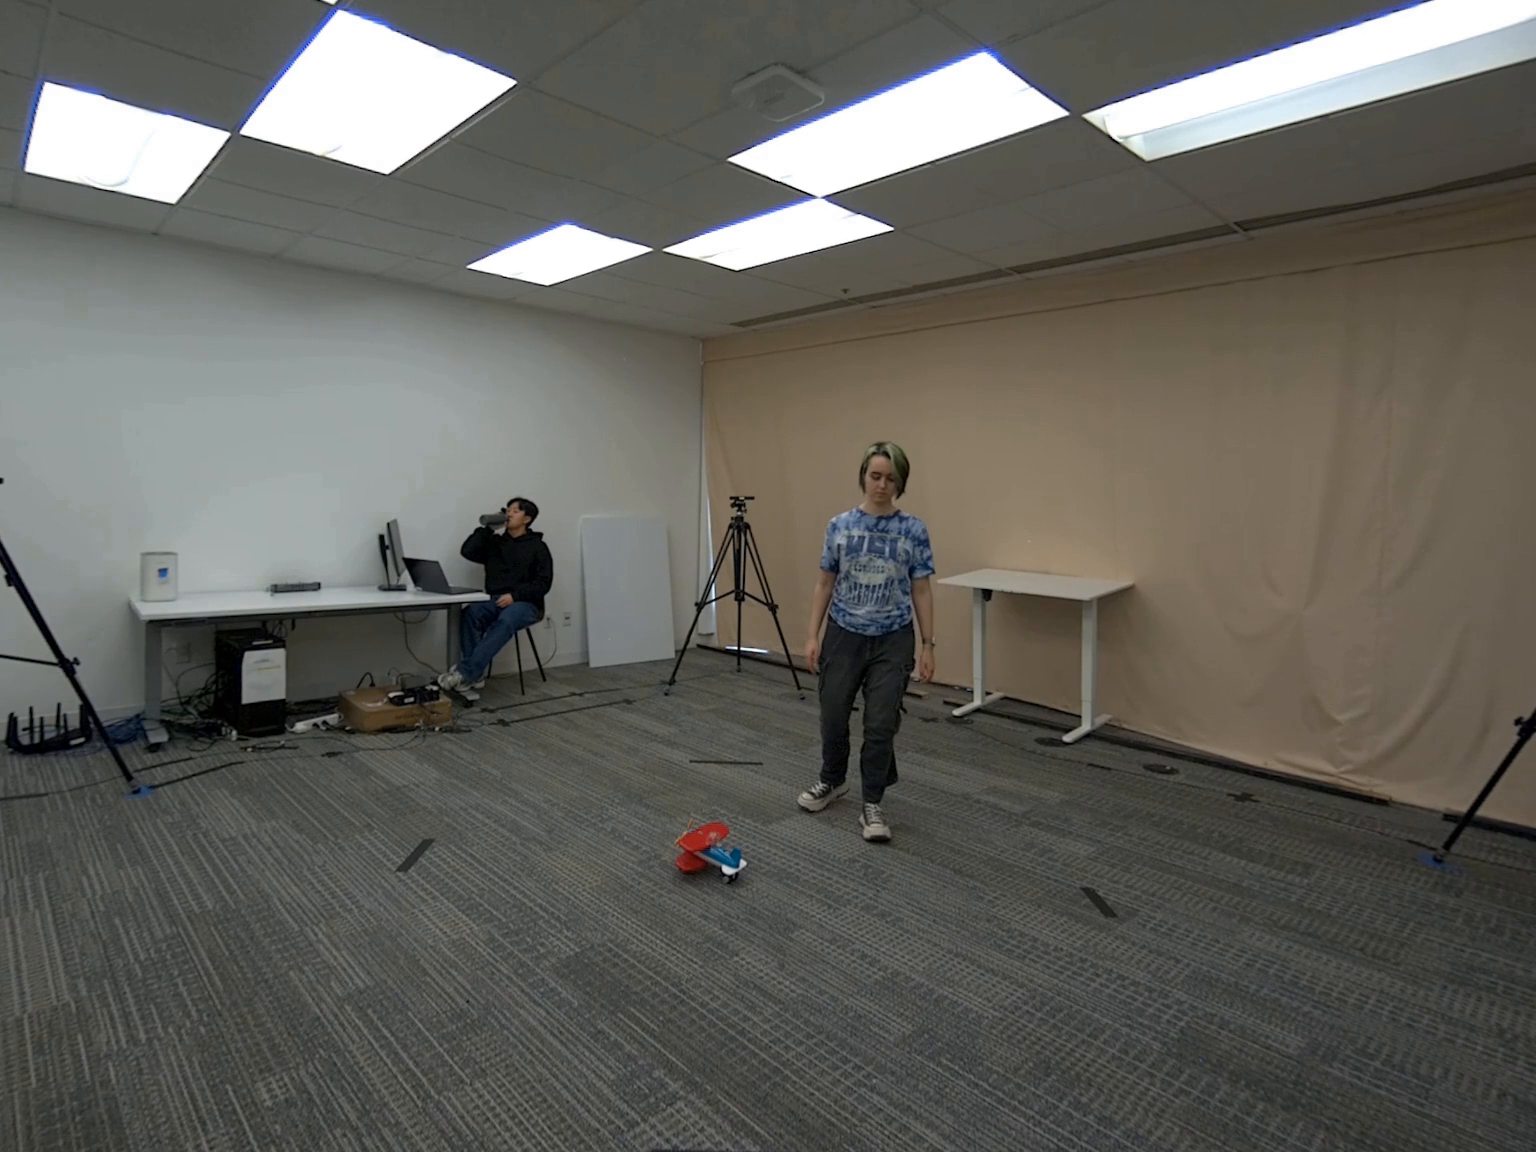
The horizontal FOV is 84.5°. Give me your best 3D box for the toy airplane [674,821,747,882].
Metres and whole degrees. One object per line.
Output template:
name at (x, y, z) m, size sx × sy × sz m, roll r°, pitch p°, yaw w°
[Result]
toy airplane at (-0.210, 1.024, 3.116) m, size 0.260 × 0.156 × 0.251 m, roll 1°, pitch 5°, yaw 5°
